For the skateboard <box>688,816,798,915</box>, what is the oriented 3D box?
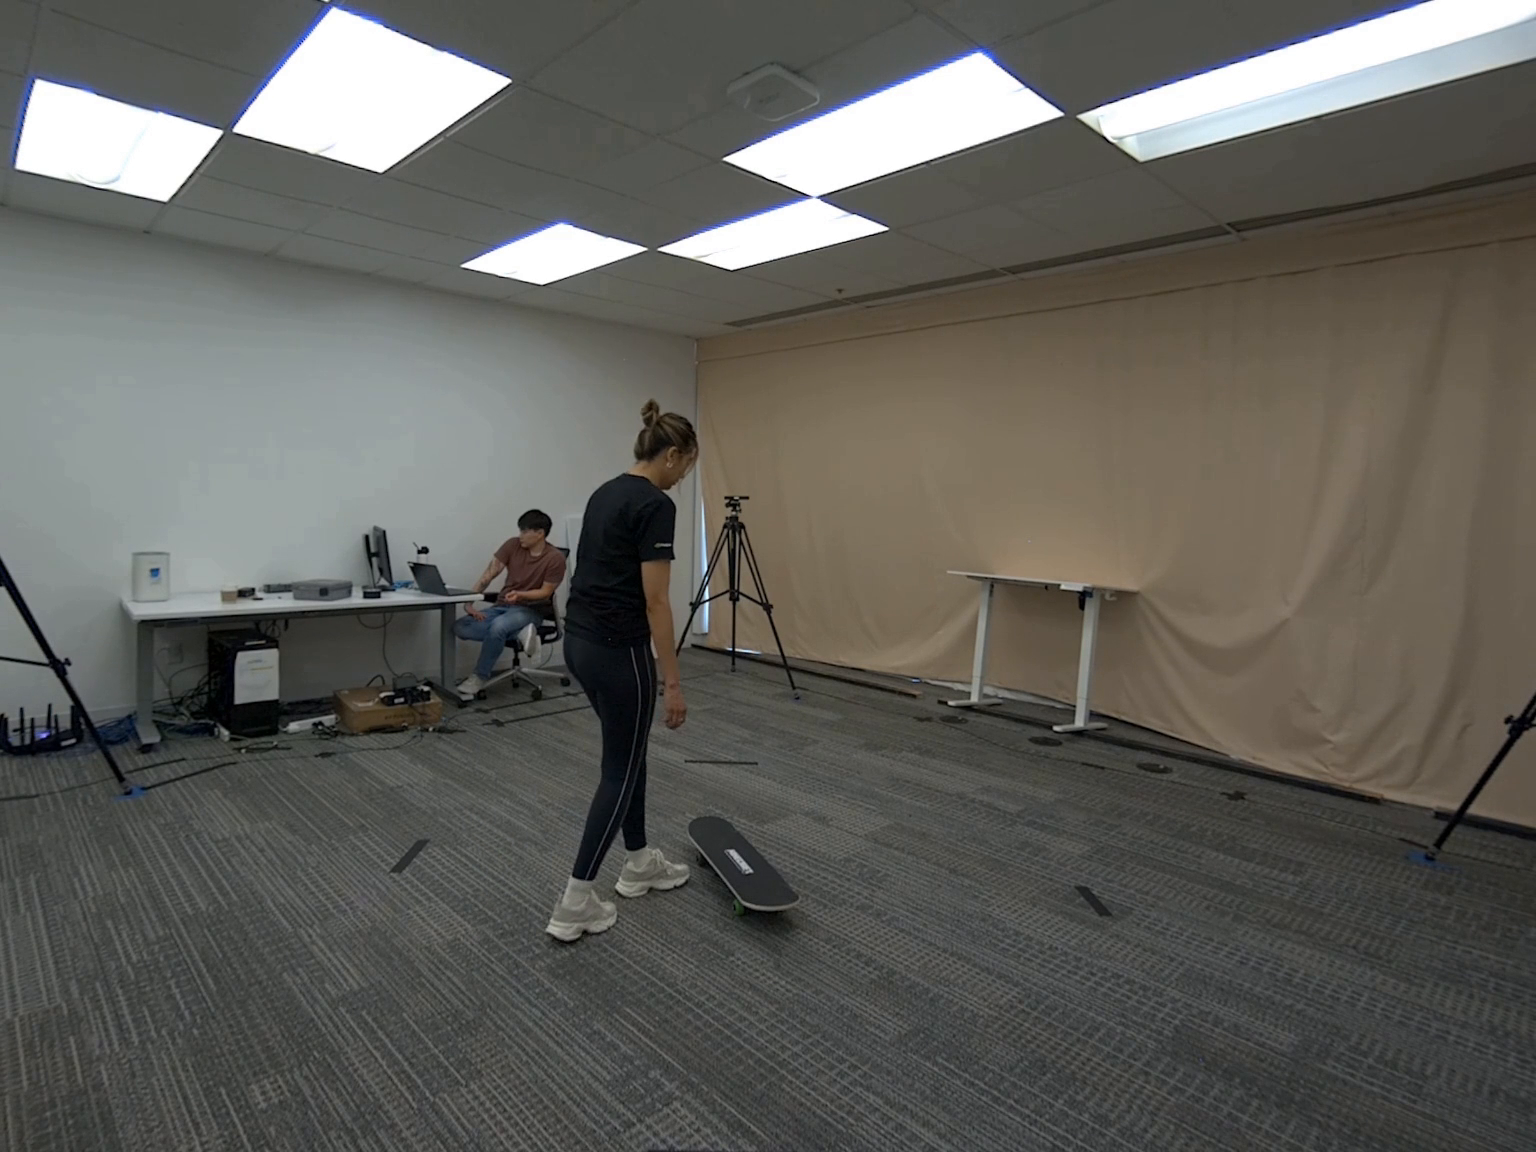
[{"bbox_3d":[-0.112,1.055,3.019,0.190,0.110,0.800,-1,6,-22],"label":"skateboard"}]
